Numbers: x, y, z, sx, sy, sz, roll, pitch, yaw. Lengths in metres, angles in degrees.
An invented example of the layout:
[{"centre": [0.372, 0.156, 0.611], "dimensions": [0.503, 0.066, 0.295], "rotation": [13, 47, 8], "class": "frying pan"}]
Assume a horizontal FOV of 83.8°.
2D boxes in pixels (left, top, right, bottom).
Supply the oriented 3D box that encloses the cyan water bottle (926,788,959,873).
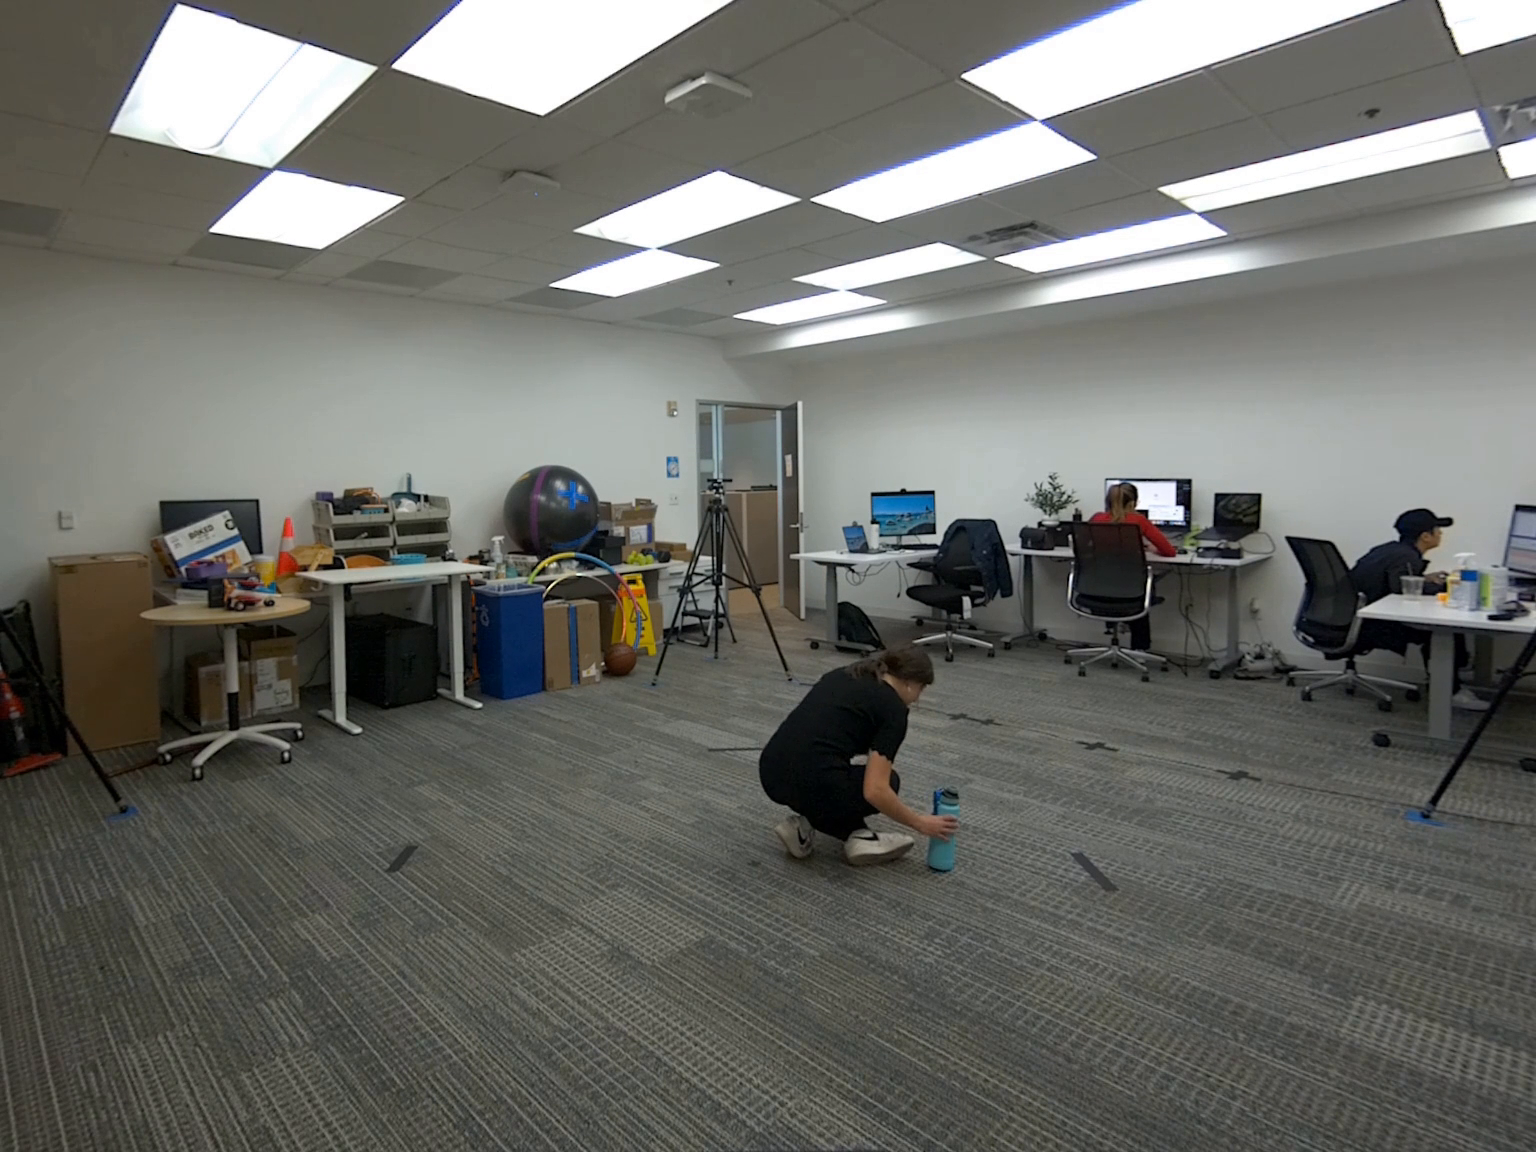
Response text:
[{"centre": [0.626, 0.887, 3.039], "dimensions": [0.092, 0.283, 0.092], "rotation": [5, 0, -2], "class": "cyan water bottle"}]
